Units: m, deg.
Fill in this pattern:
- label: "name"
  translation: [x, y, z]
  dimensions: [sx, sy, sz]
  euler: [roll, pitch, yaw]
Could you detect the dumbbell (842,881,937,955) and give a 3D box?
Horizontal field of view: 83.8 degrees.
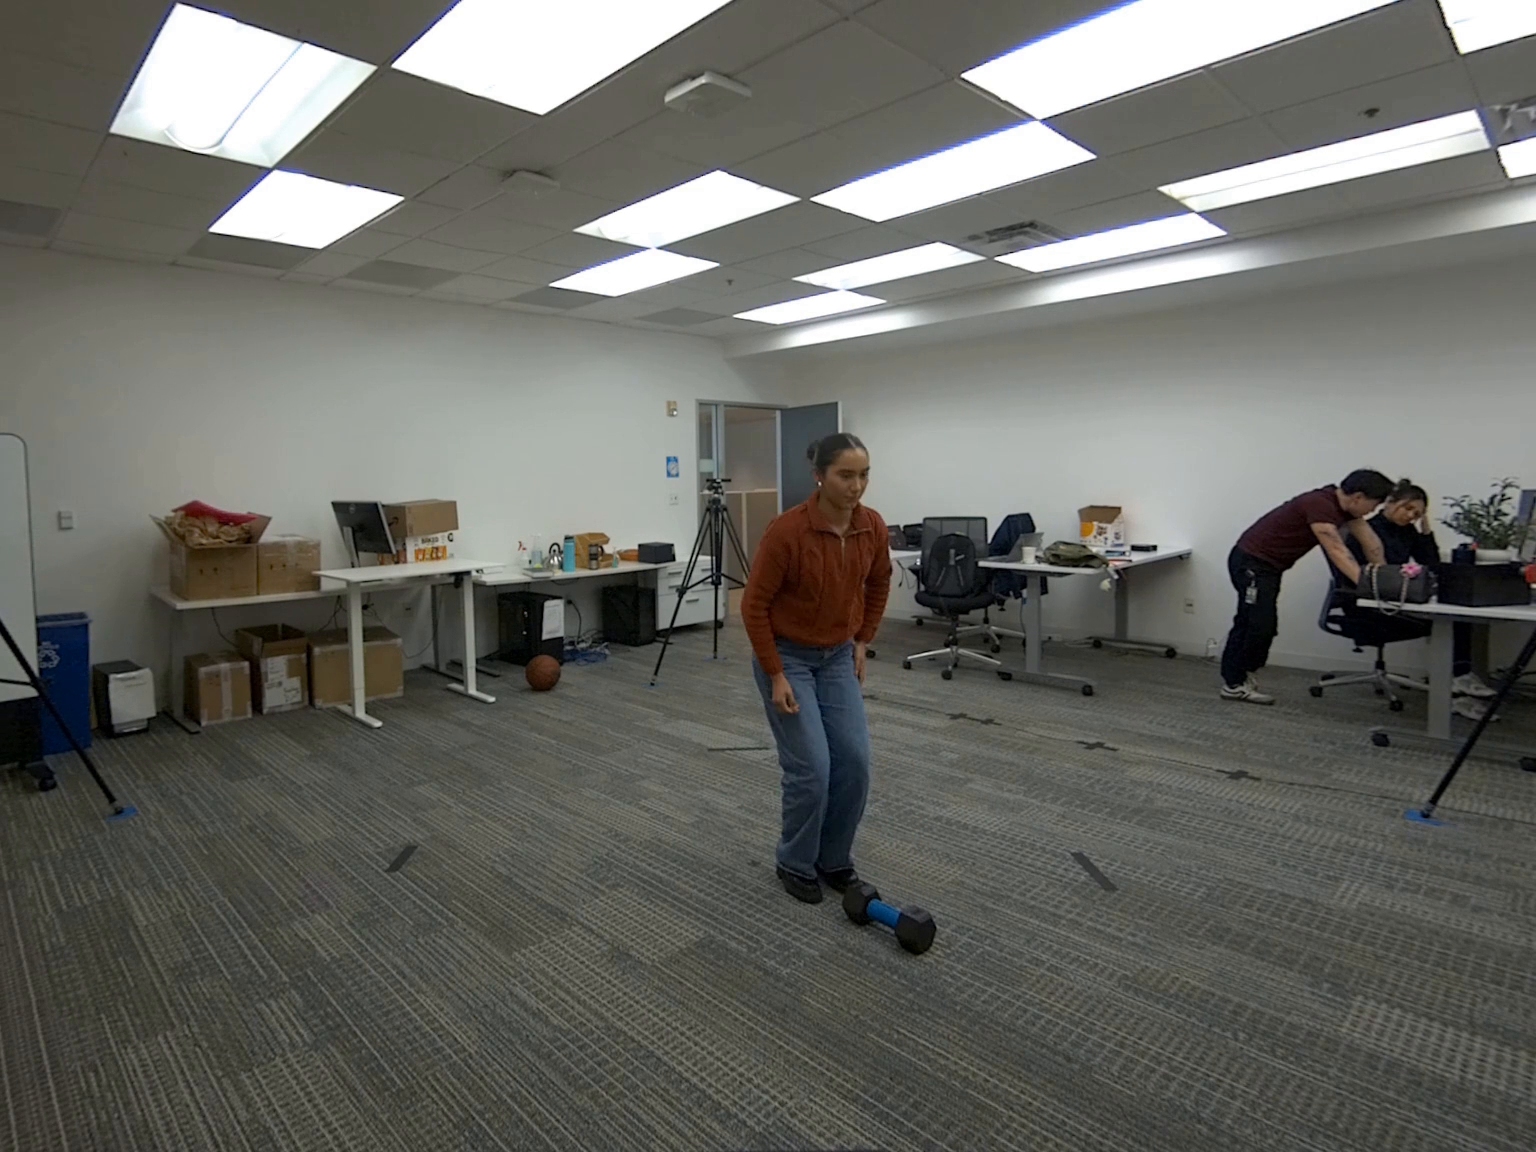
- label: "dumbbell"
  translation: [0.370, 1.042, 2.608]
  dimensions: [0.105, 0.124, 0.302]
  euler: [34, -18, -37]
